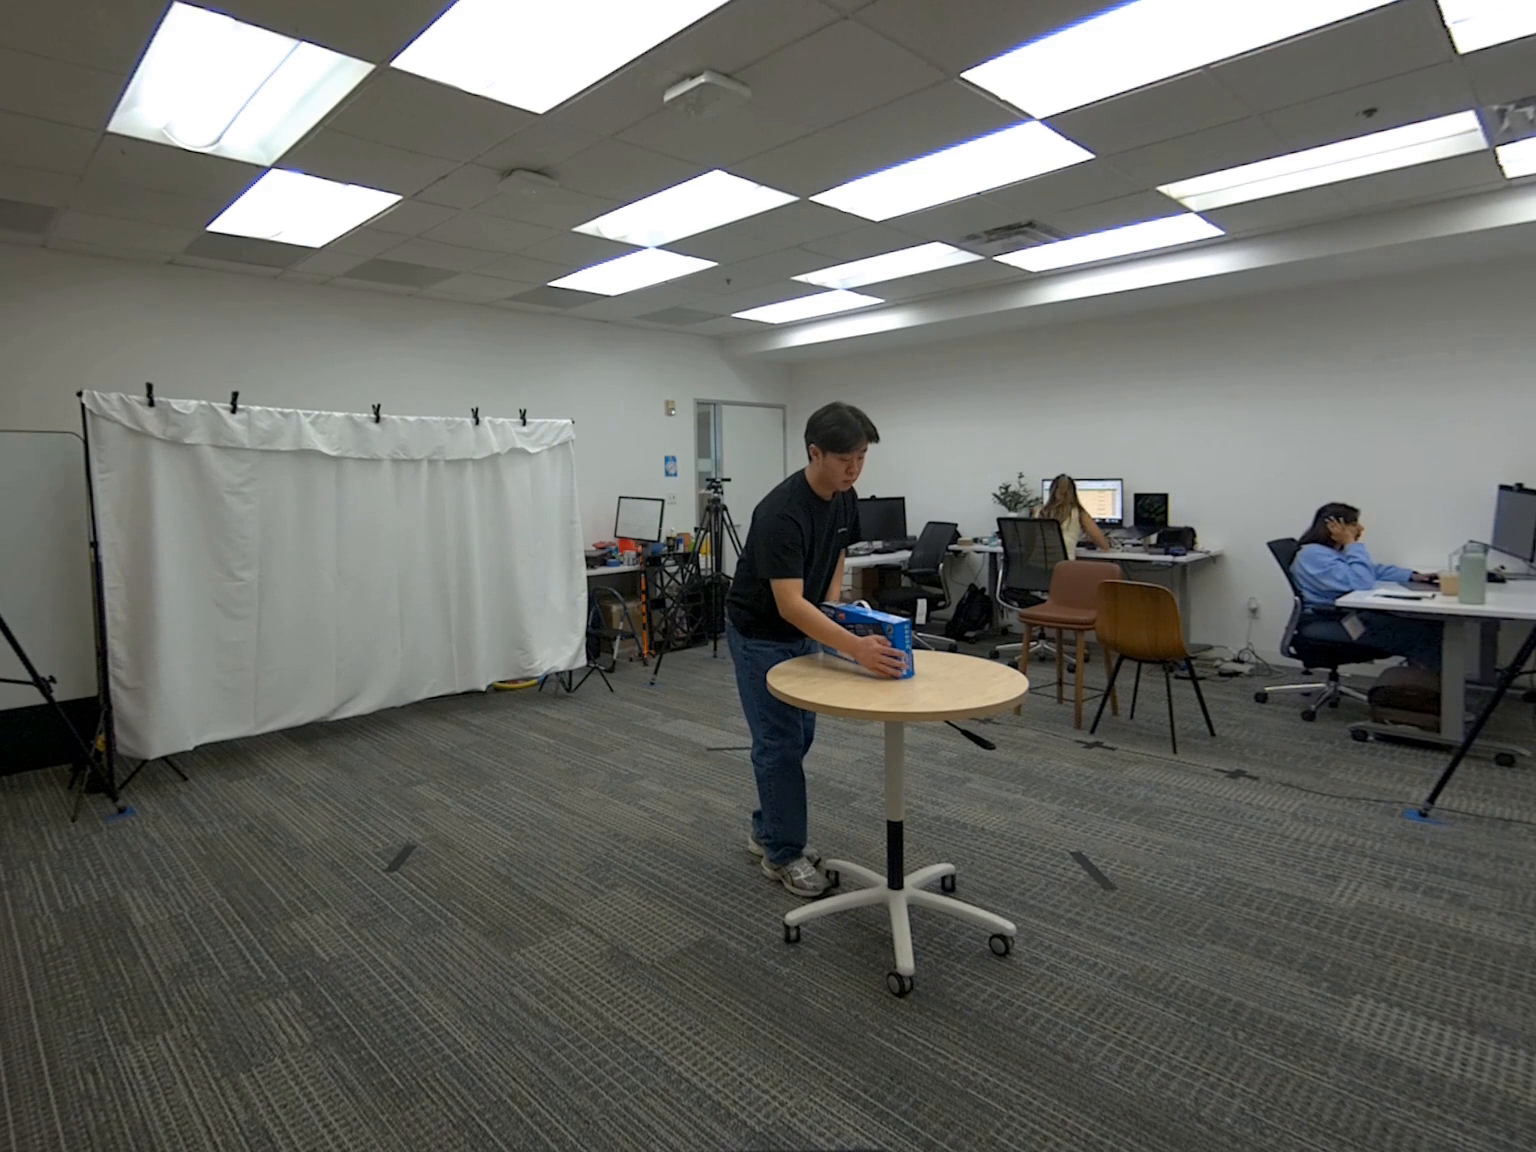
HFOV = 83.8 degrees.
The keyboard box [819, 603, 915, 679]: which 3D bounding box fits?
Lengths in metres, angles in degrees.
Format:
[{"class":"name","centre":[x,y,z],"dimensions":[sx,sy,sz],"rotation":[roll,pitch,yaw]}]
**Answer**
[{"class":"keyboard box","centre":[0.306,0.200,2.712],"dimensions":[0.058,0.175,0.447],"rotation":[-6,8,-23]}]
